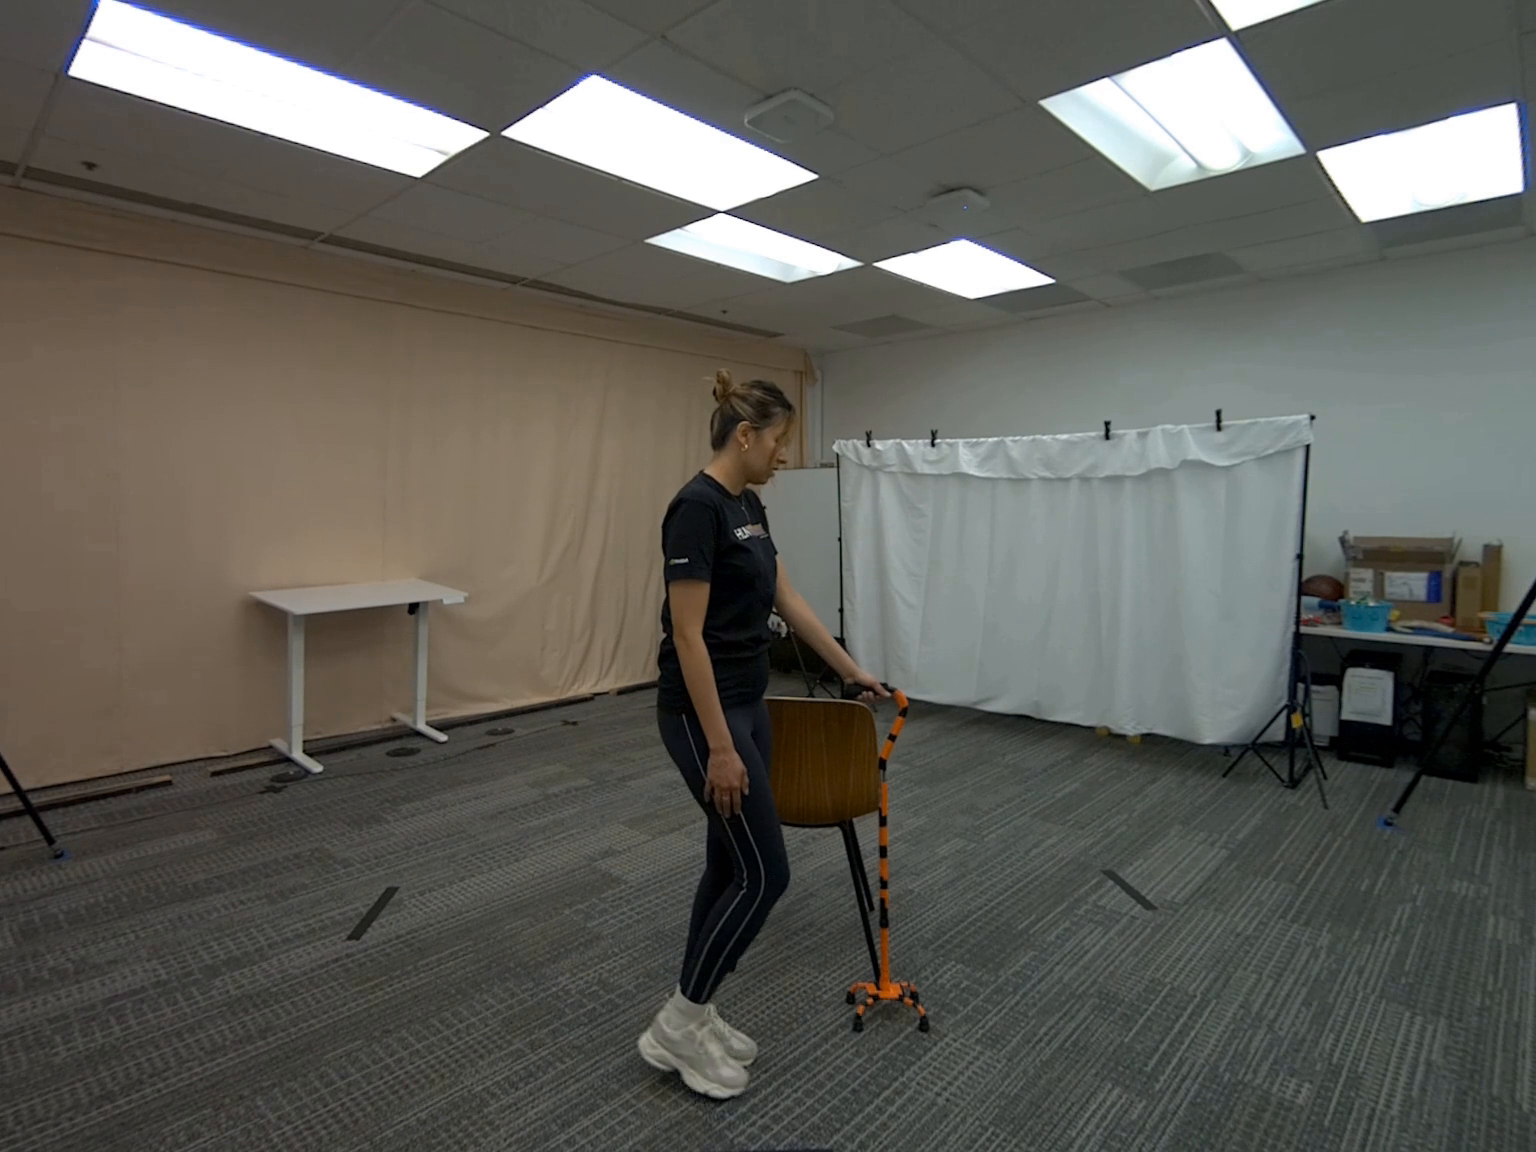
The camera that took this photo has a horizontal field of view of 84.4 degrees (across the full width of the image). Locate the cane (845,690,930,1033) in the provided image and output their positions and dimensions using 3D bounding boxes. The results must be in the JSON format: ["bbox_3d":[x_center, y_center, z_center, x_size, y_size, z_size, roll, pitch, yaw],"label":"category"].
[{"bbox_3d":[0.323,0.747,2.279,0.206,0.906,0.152,-1,3,-1],"label":"cane"}]
